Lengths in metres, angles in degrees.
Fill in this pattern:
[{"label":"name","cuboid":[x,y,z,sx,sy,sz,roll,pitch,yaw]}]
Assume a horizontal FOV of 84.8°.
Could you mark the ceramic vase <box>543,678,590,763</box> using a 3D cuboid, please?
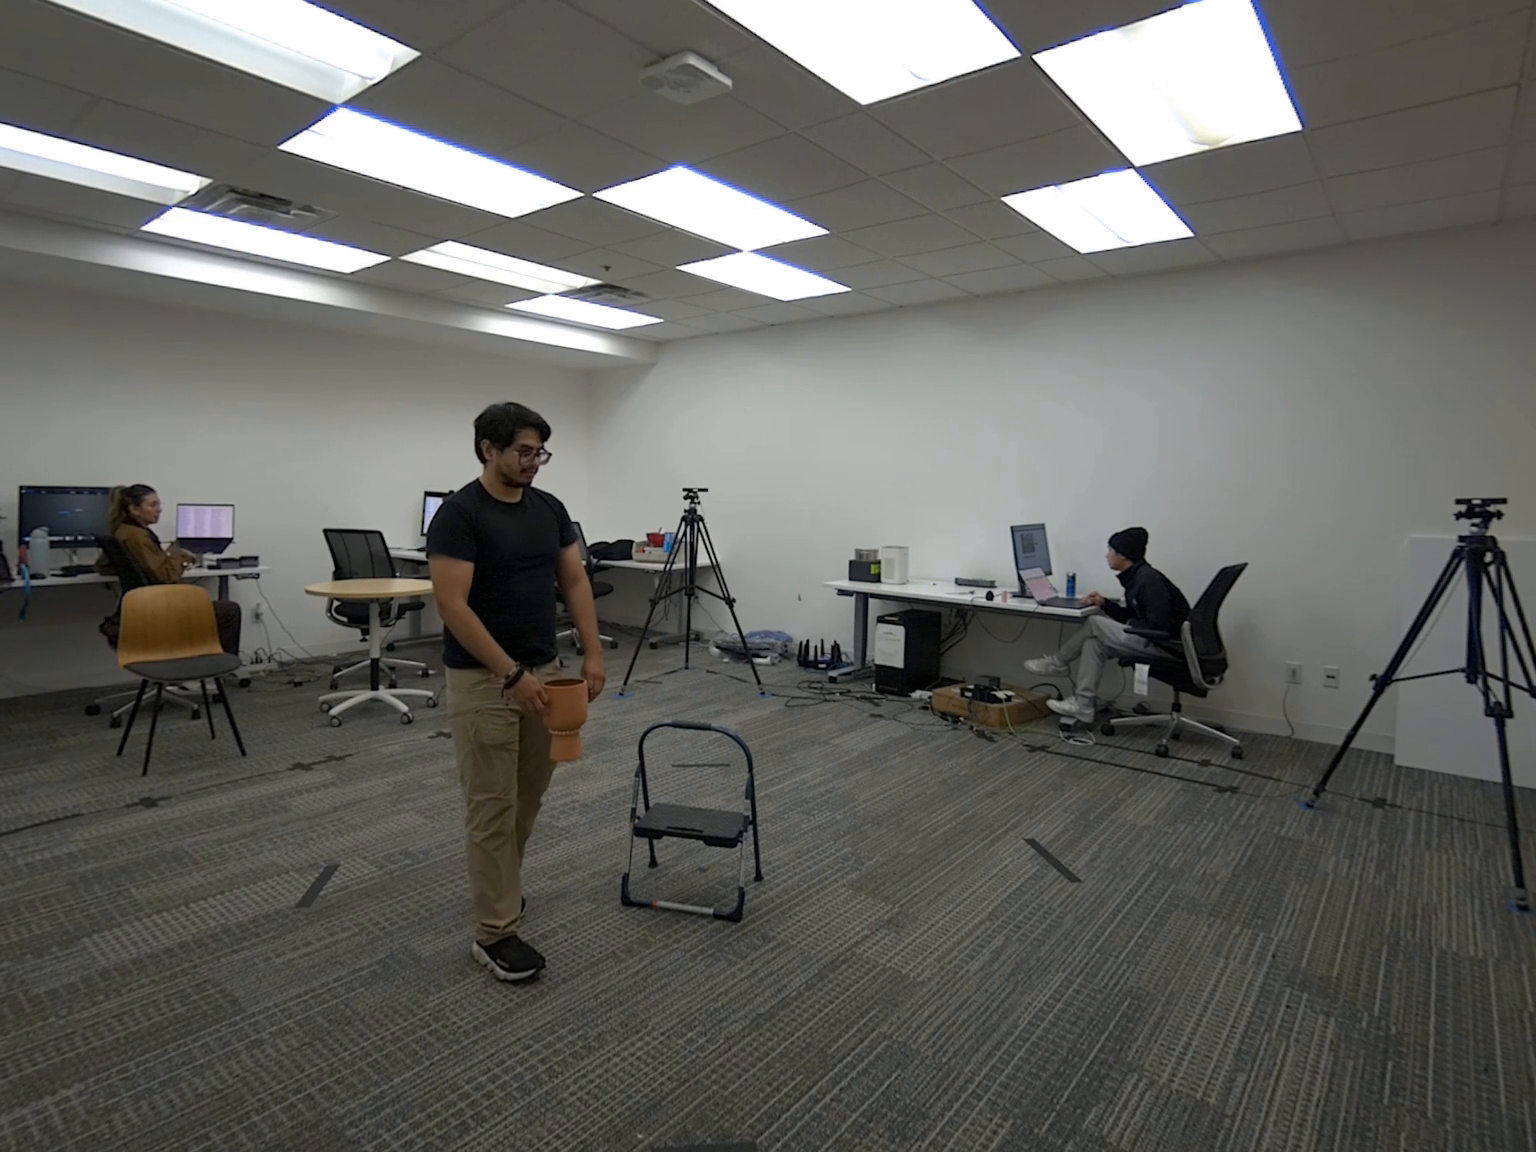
[{"label":"ceramic vase","cuboid":[-0.616,0.422,2.483,0.157,0.219,0.137,-4,5,-14]}]
